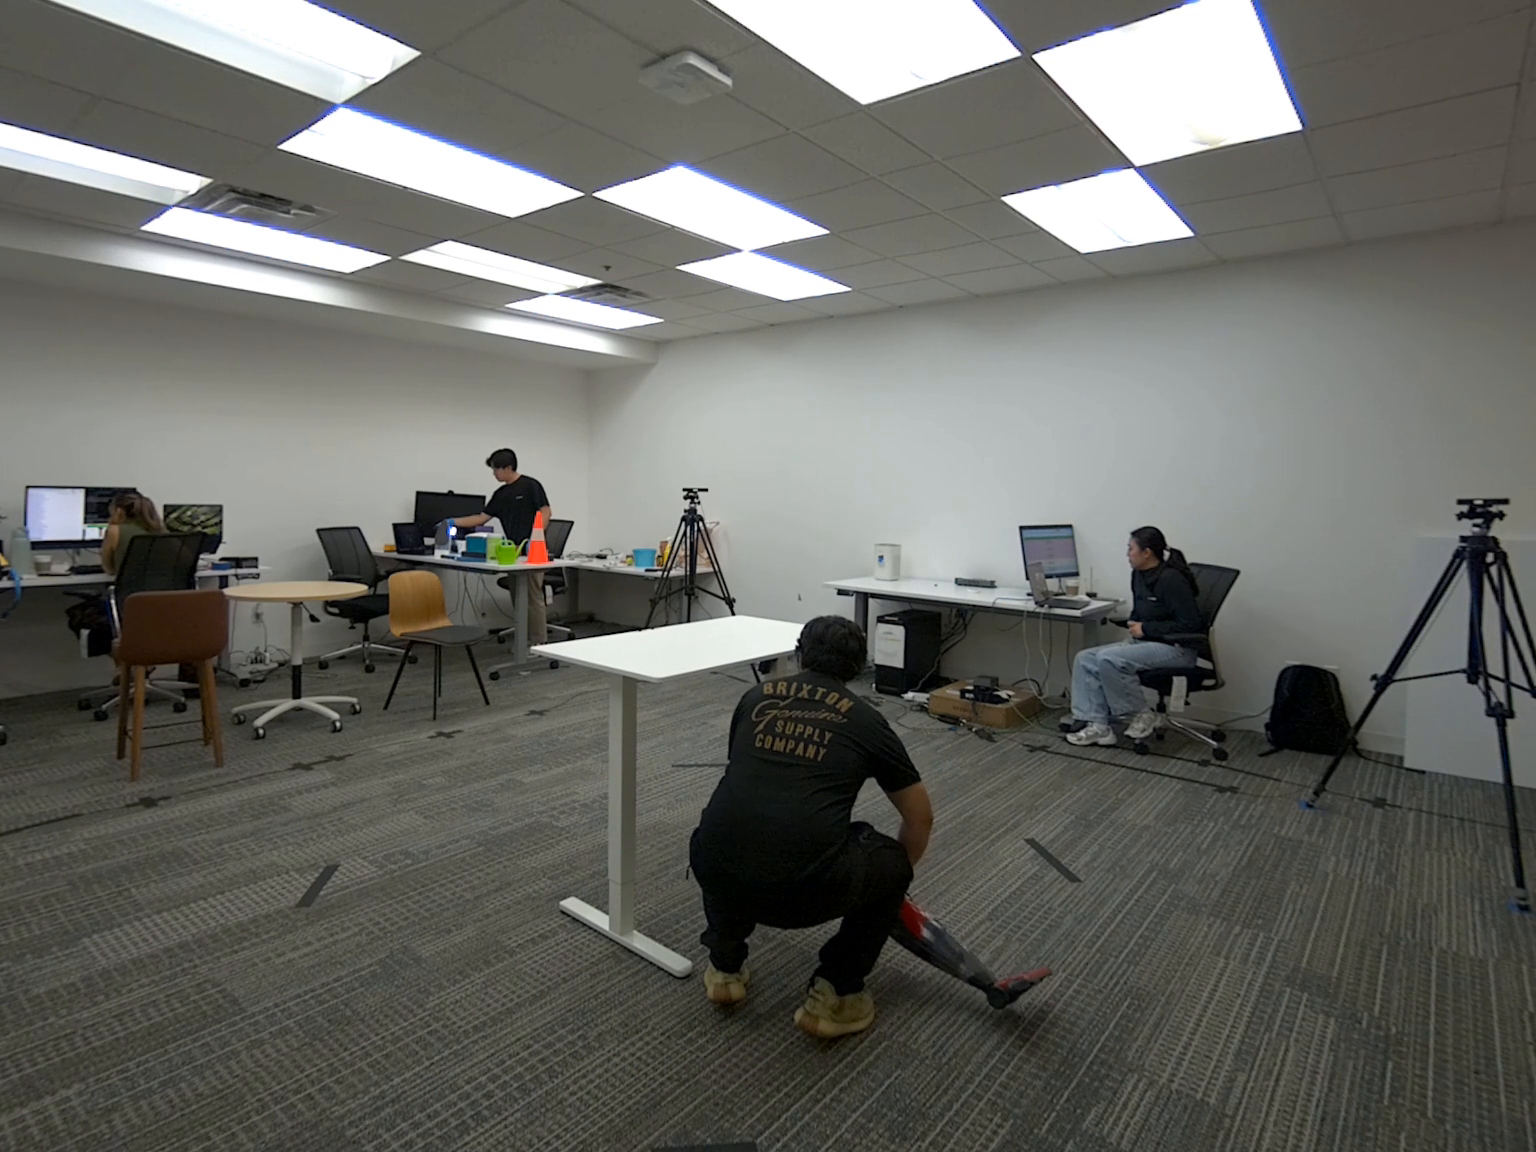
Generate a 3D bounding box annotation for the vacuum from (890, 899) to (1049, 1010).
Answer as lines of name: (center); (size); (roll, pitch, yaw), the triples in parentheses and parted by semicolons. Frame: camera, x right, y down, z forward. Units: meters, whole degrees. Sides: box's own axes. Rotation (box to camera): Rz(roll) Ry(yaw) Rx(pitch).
vacuum: (0.254, 0.956, 2.563); (1.089, 0.144, 0.243); (17, -4, 37)
